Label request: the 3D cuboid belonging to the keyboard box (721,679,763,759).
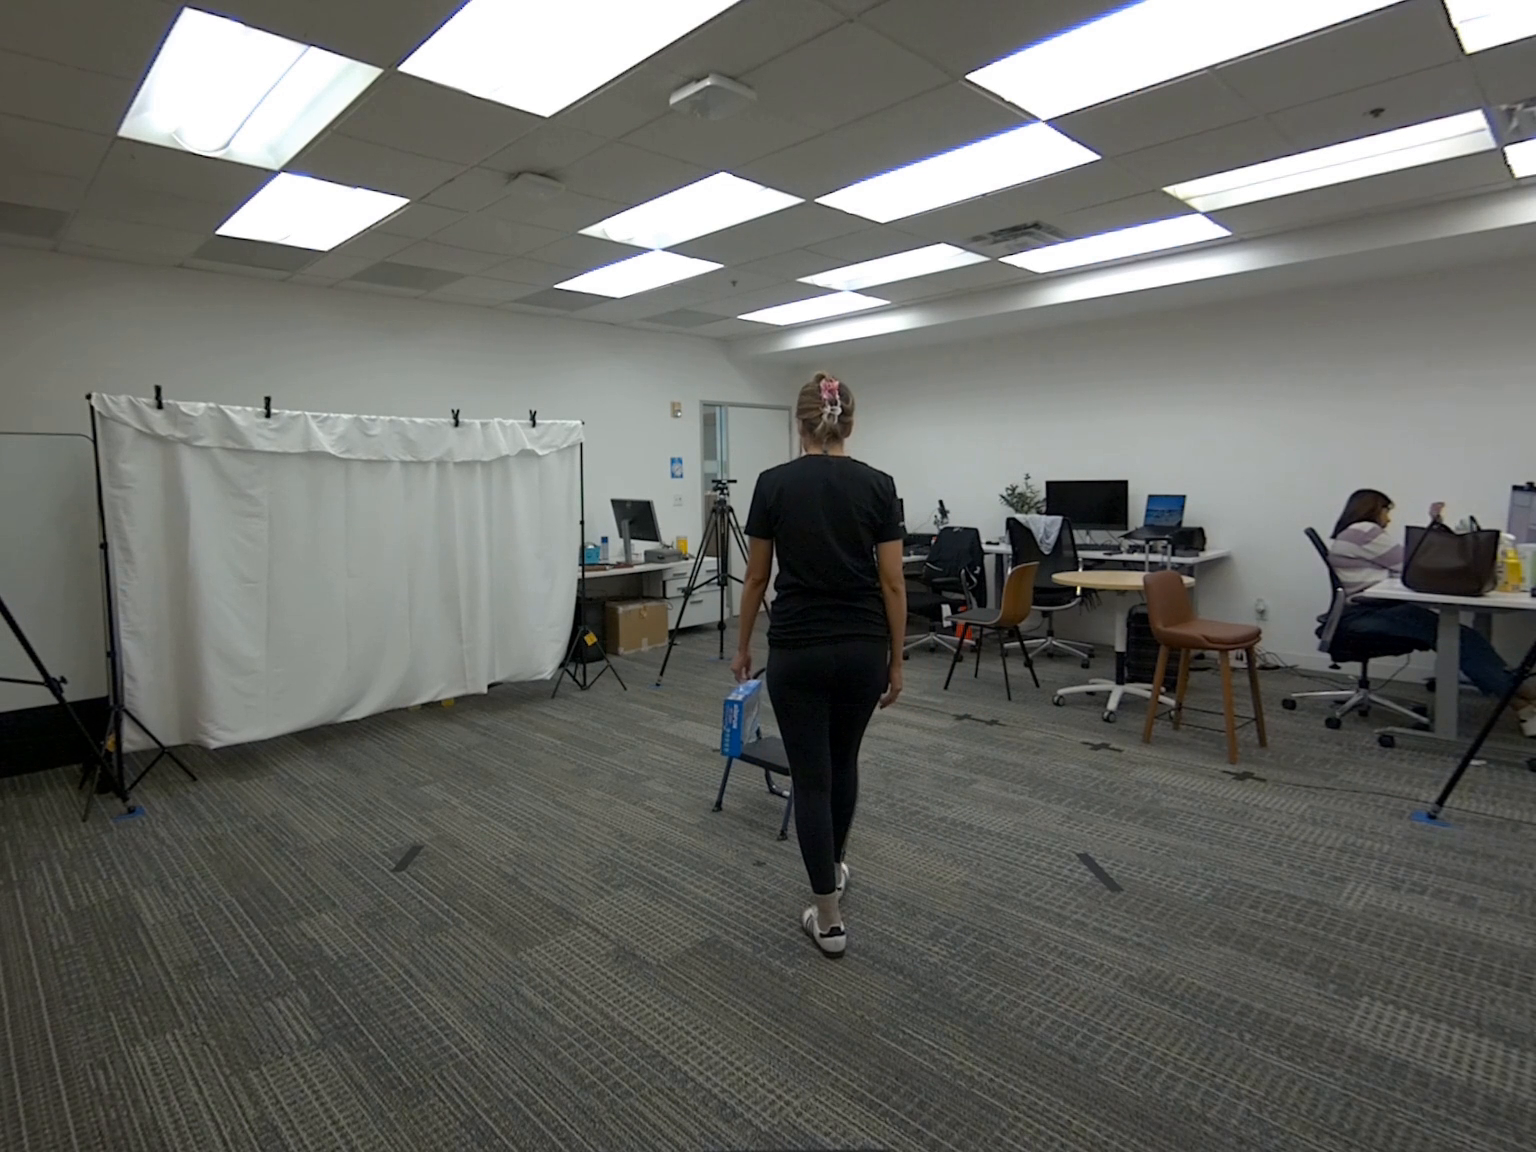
[{"bbox_3d":[-0.071,0.450,2.799,0.059,0.176,0.433,2,1,6],"label":"keyboard box"}]
